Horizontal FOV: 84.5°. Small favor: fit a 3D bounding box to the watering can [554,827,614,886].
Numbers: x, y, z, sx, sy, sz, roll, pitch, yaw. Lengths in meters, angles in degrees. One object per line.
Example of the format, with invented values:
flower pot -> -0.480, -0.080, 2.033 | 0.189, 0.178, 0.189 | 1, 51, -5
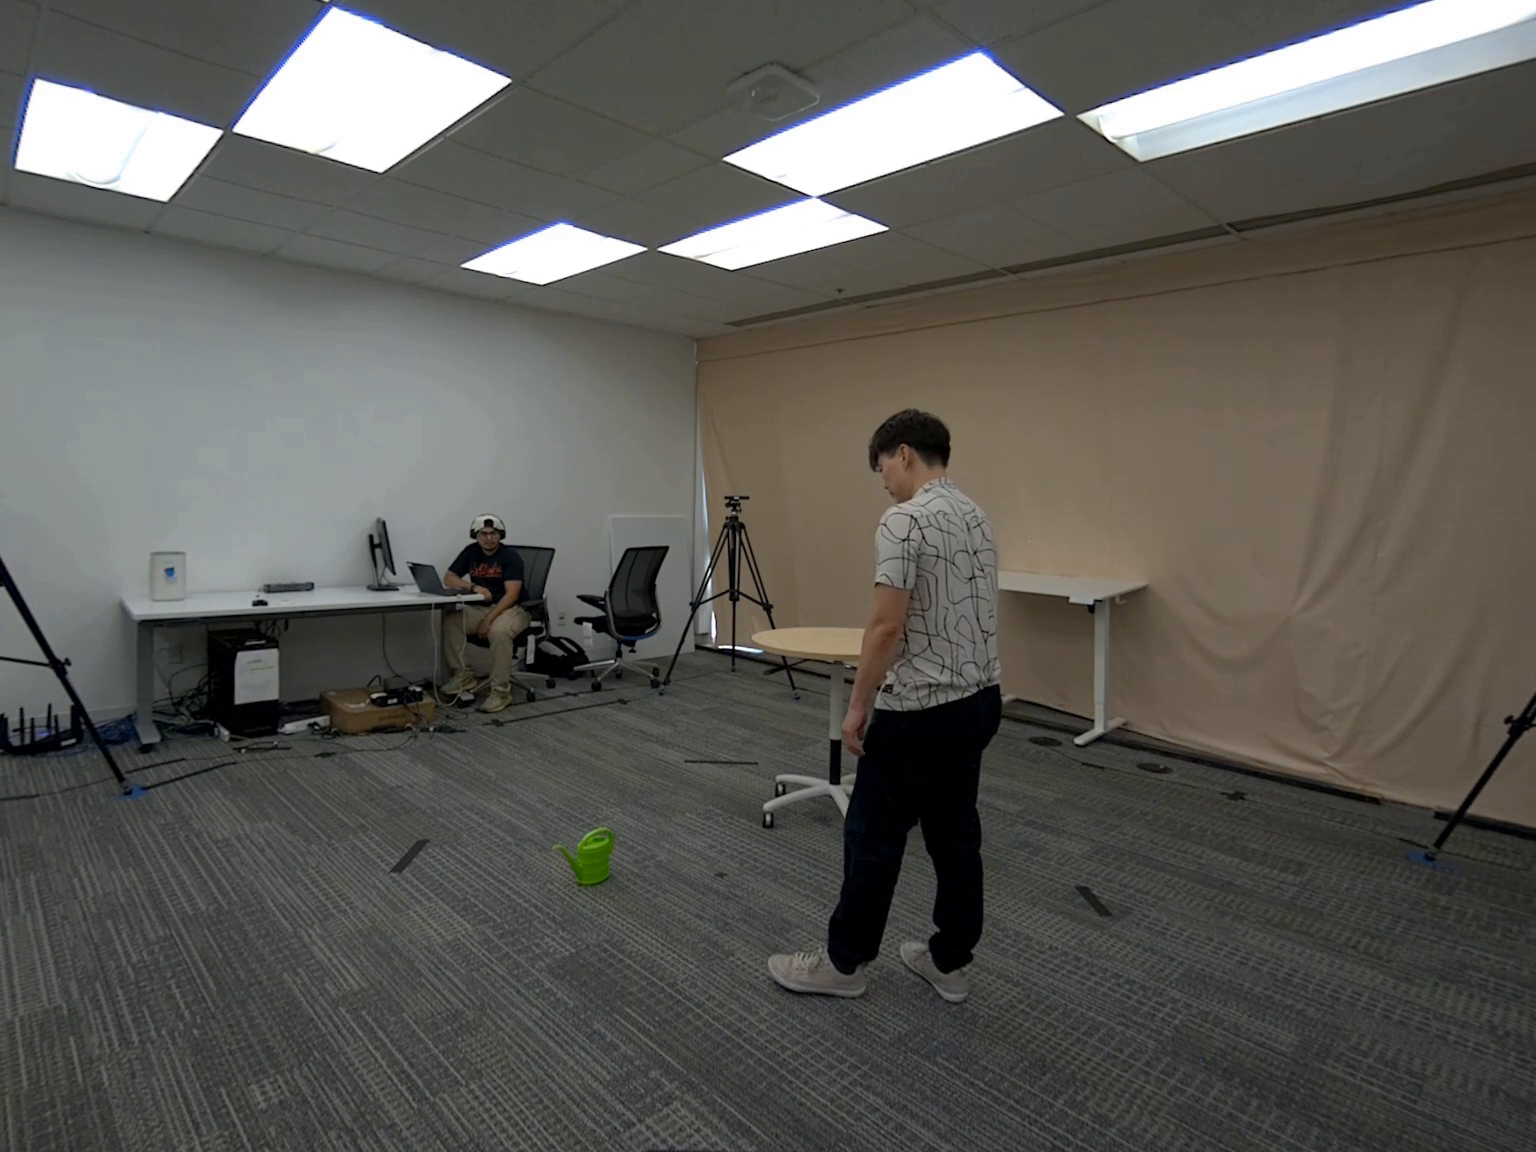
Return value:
watering can -> -0.669, 1.005, 3.012 | 0.272, 0.176, 0.100 | 0, 5, -40
